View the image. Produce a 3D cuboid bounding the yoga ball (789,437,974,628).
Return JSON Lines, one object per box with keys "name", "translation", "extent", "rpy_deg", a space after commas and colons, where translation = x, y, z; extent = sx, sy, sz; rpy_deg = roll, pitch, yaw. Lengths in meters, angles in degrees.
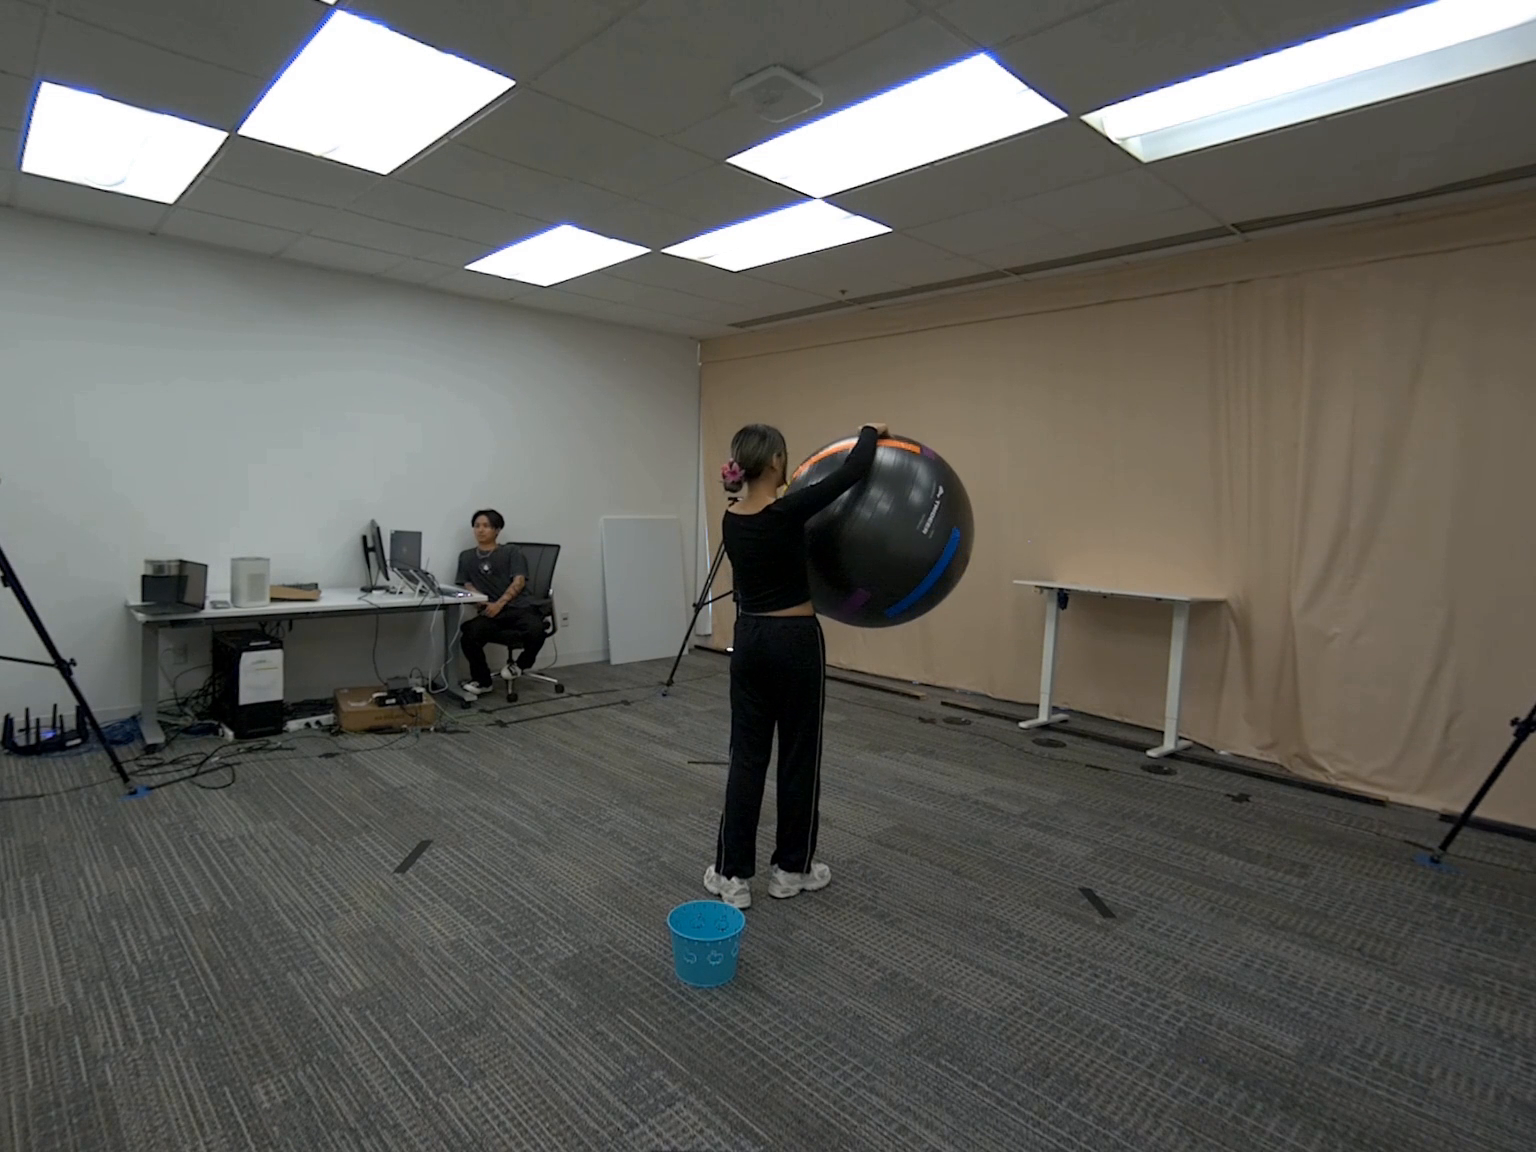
{"name": "yoga ball", "translation": [0.403, -0.175, 3.277], "extent": [0.757, 0.756, 0.761], "rpy_deg": [1, 4, -1]}
